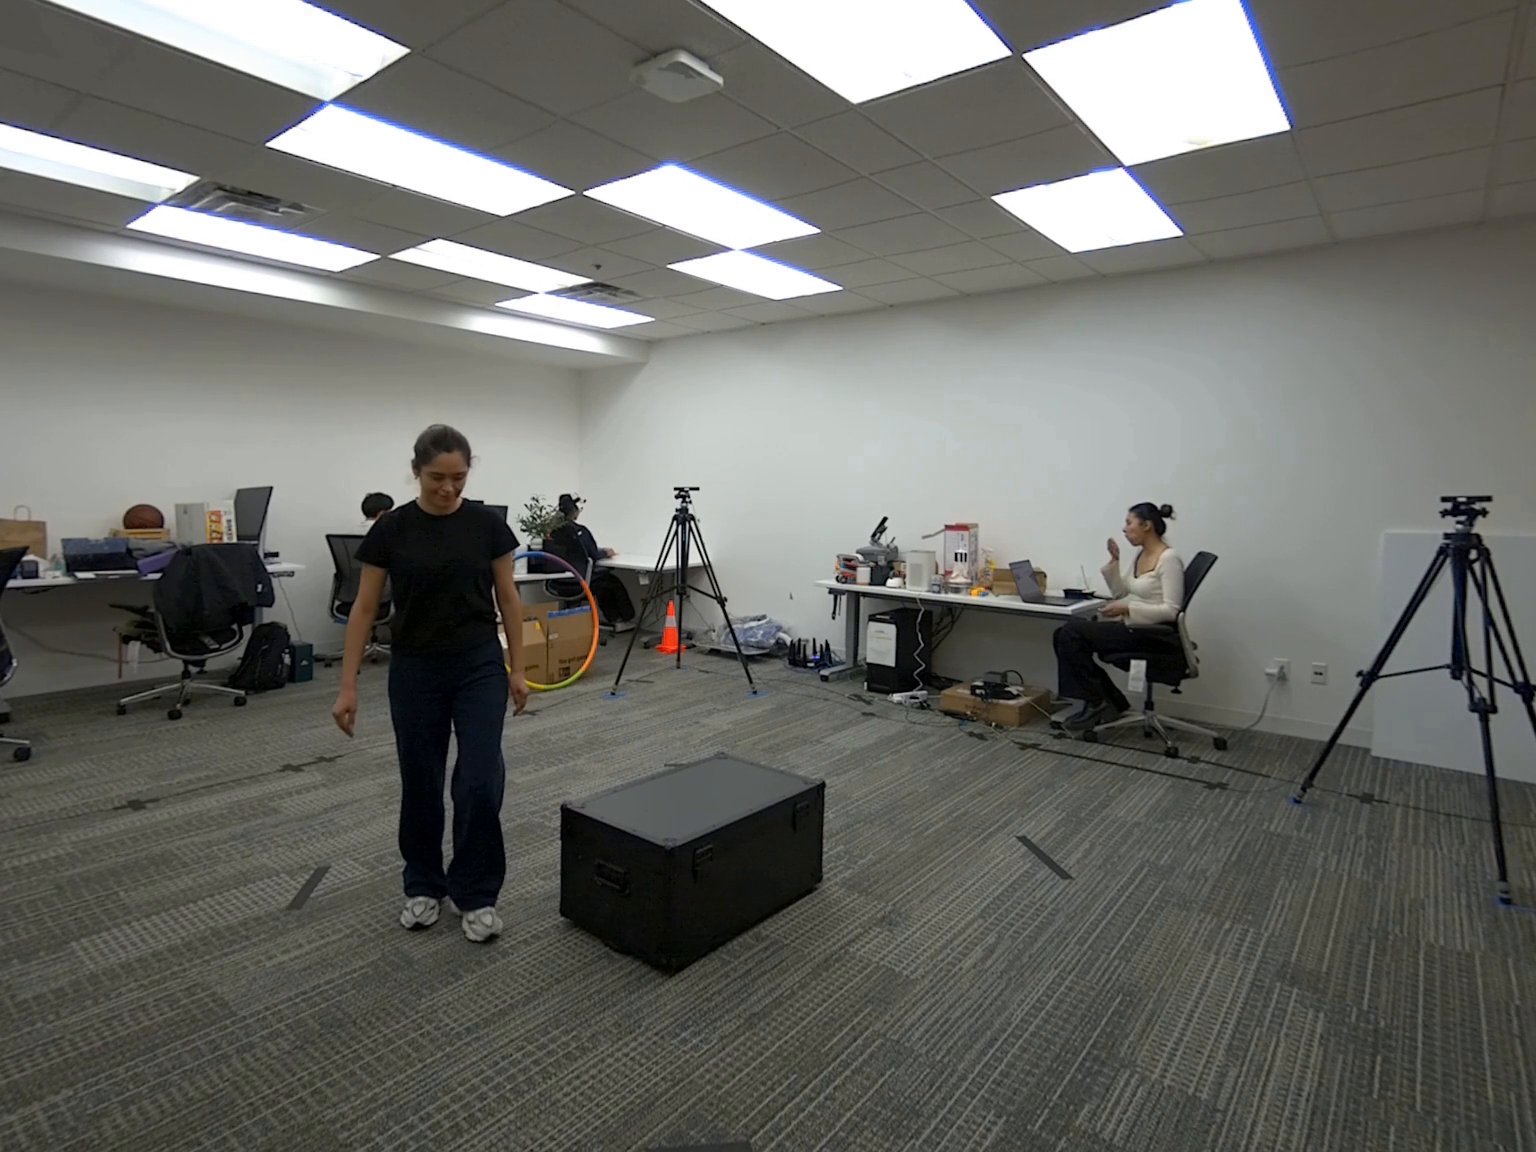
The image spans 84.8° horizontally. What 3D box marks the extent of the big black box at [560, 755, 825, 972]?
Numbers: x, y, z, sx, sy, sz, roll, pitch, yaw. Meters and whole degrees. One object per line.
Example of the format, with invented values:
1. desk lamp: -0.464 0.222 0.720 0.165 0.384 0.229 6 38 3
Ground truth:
1. big black box: -0.200 0.900 2.863 0.539 0.394 0.837 5 7 39
